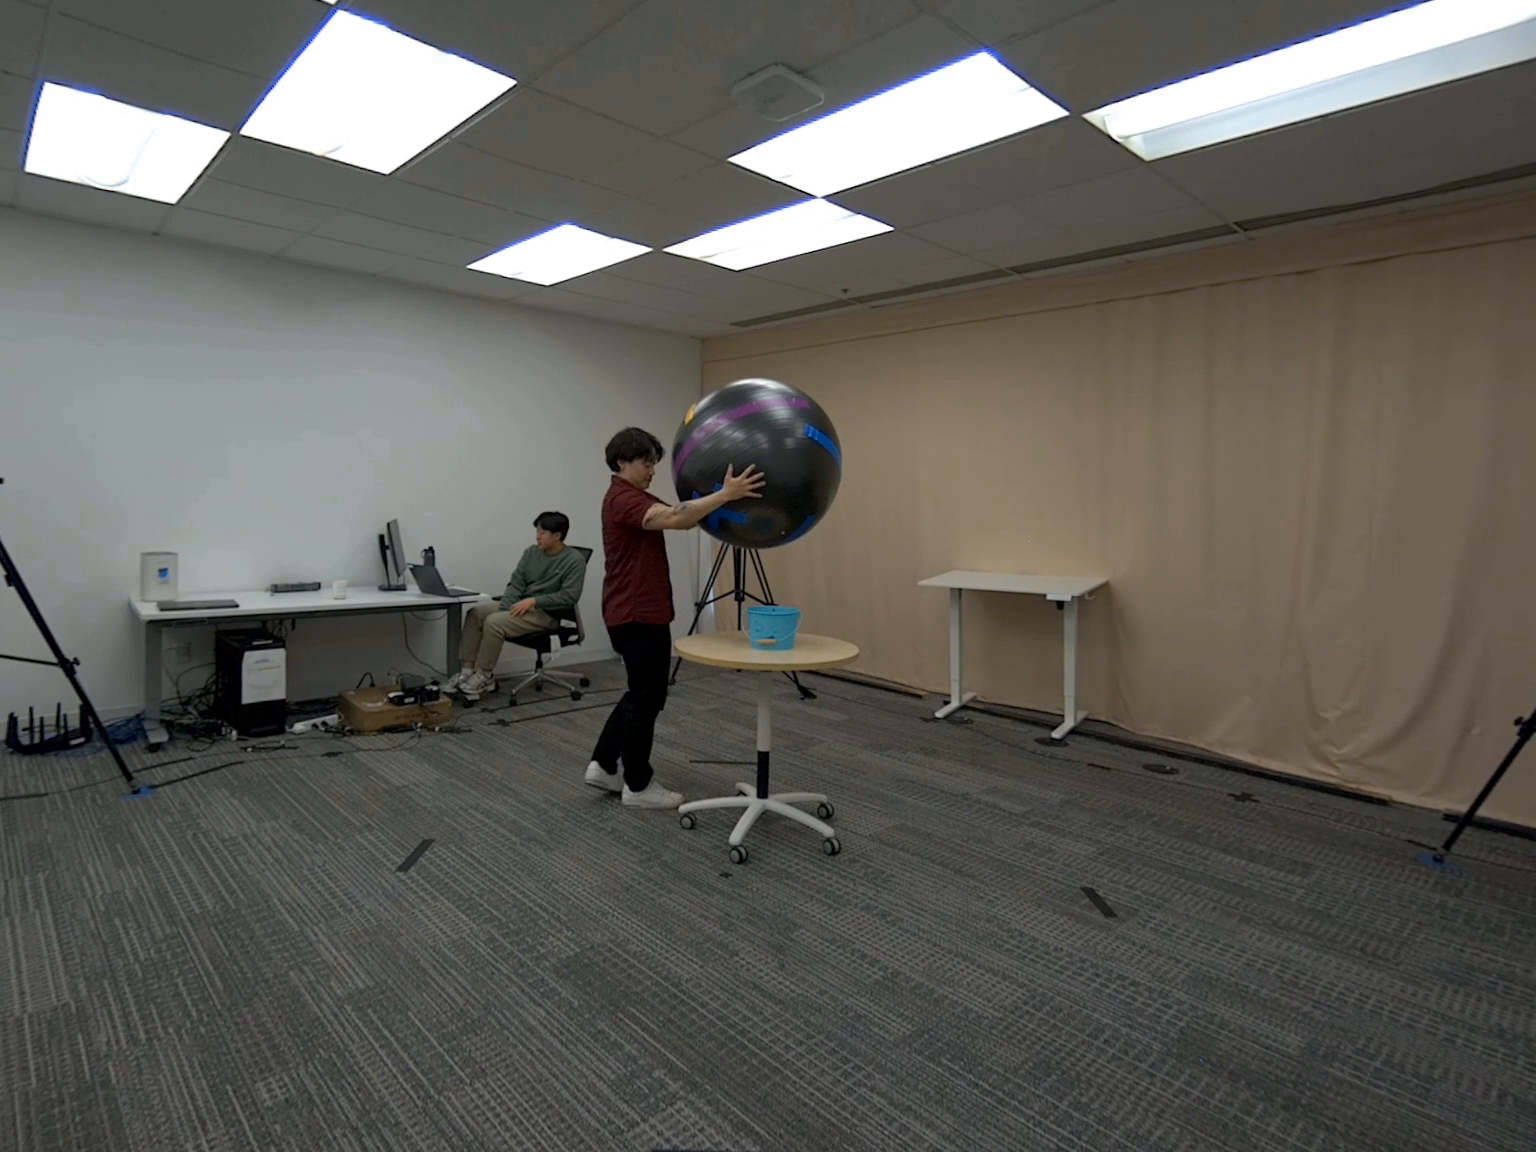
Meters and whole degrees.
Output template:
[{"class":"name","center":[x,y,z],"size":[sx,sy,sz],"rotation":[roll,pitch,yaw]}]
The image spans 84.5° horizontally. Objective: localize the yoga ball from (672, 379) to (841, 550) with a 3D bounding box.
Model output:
[{"class":"yoga ball","center":[-0.062,-0.495,3.767],"size":[0.757,0.756,0.761],"rotation":[1,4,-1]}]
